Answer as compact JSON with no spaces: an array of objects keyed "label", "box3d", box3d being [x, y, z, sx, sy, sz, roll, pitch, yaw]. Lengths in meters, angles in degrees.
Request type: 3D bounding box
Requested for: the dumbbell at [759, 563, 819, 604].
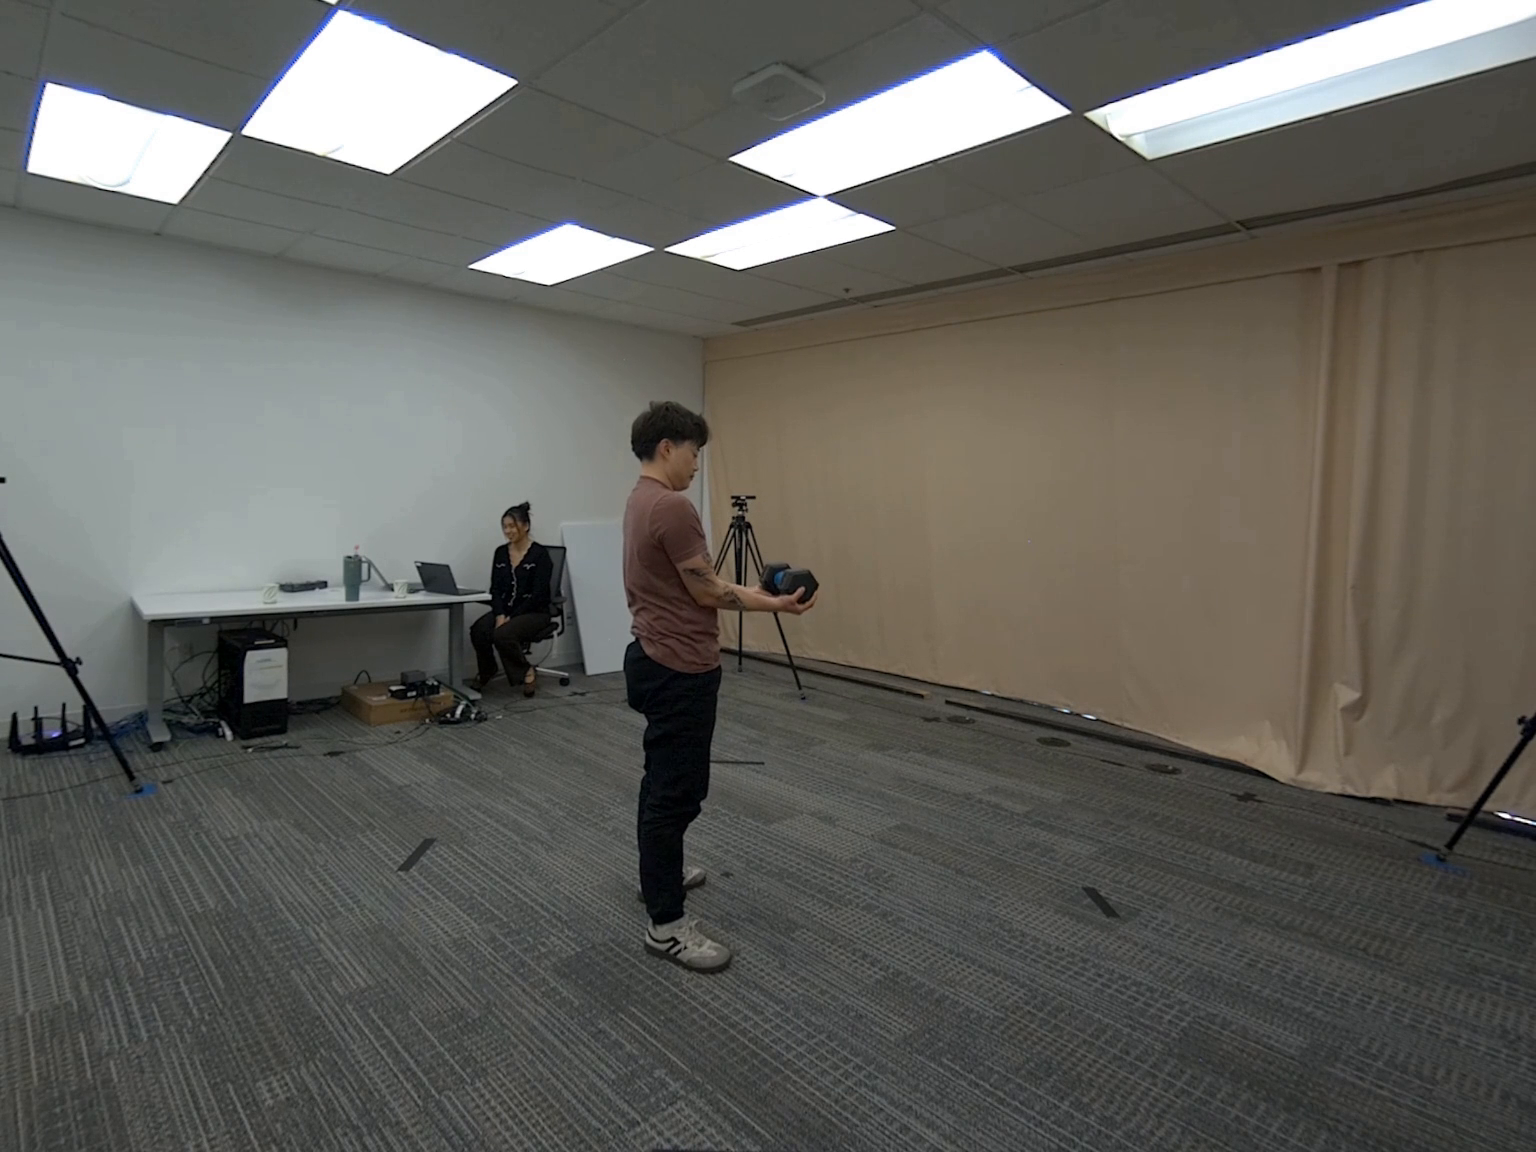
[{"label":"dumbbell","box3d":[0.058,0.018,2.784,0.121,0.108,0.298,-4,7,-17]}]
